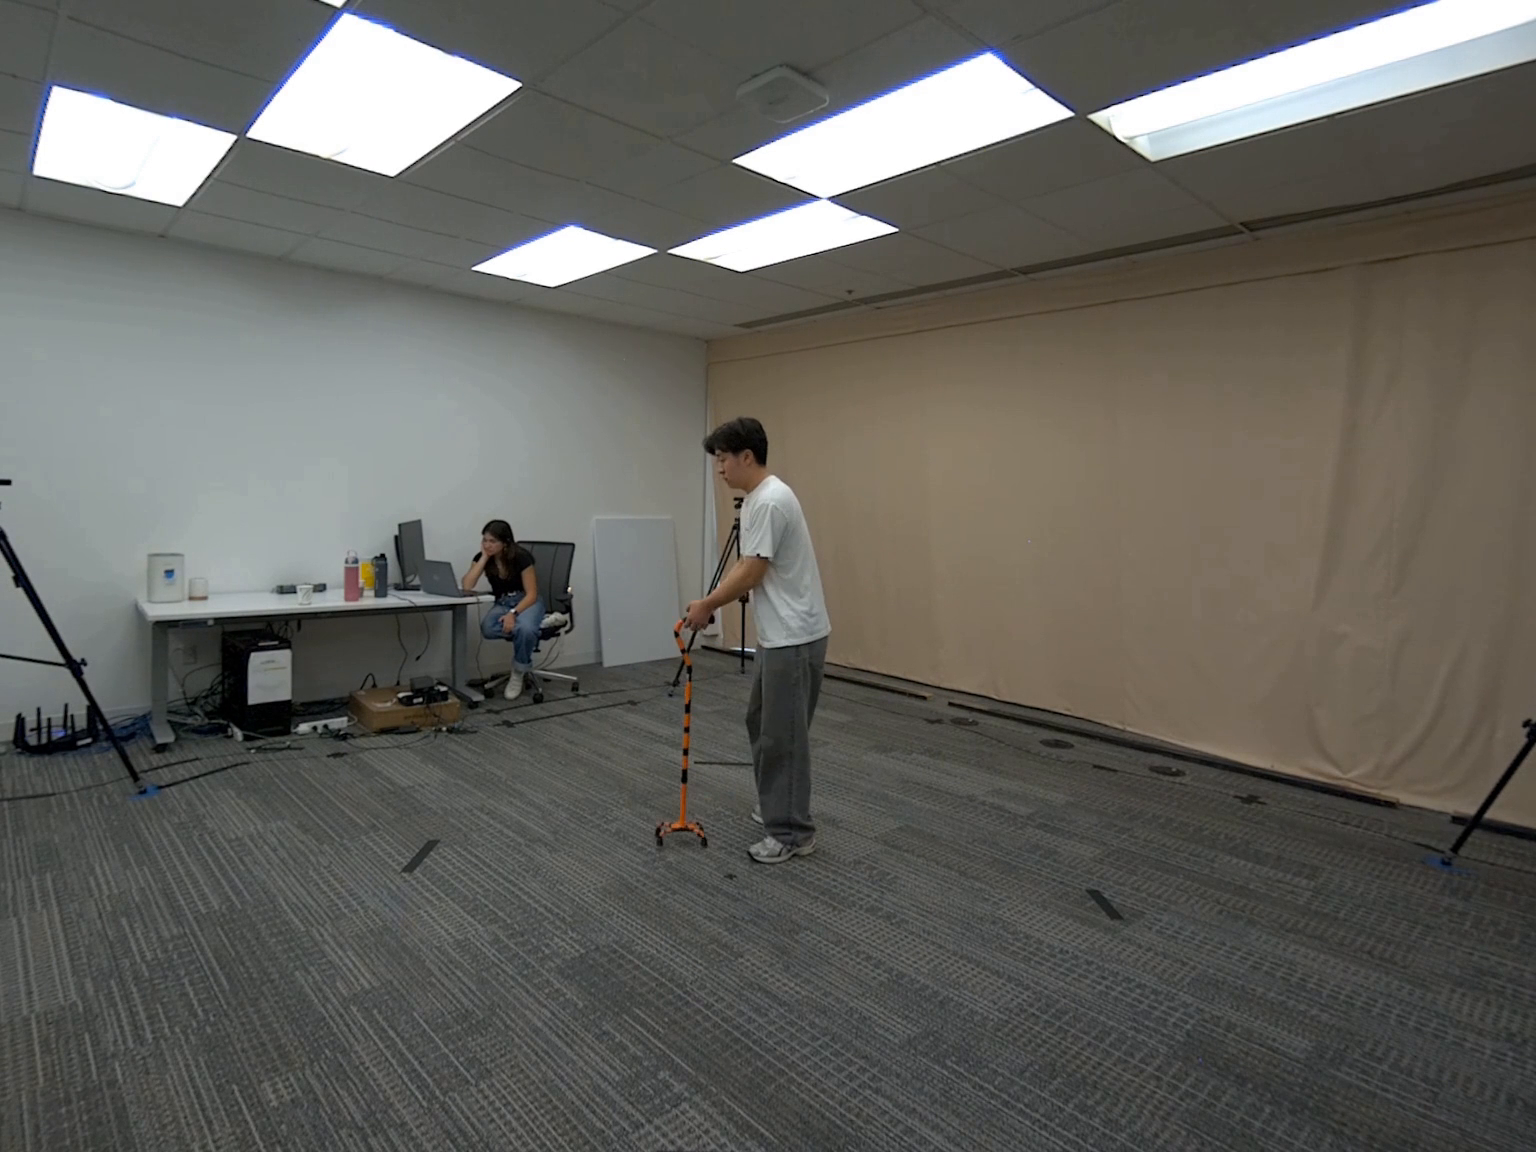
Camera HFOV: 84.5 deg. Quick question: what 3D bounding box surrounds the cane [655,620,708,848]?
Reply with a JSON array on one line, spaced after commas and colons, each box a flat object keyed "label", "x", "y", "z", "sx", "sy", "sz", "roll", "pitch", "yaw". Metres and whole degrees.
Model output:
[{"label": "cane", "x": -0.327, "y": 0.607, "z": 3.438, "sx": 0.205, "sy": 0.908, "sz": 0.153, "roll": 2, "pitch": 0, "yaw": -11}]
